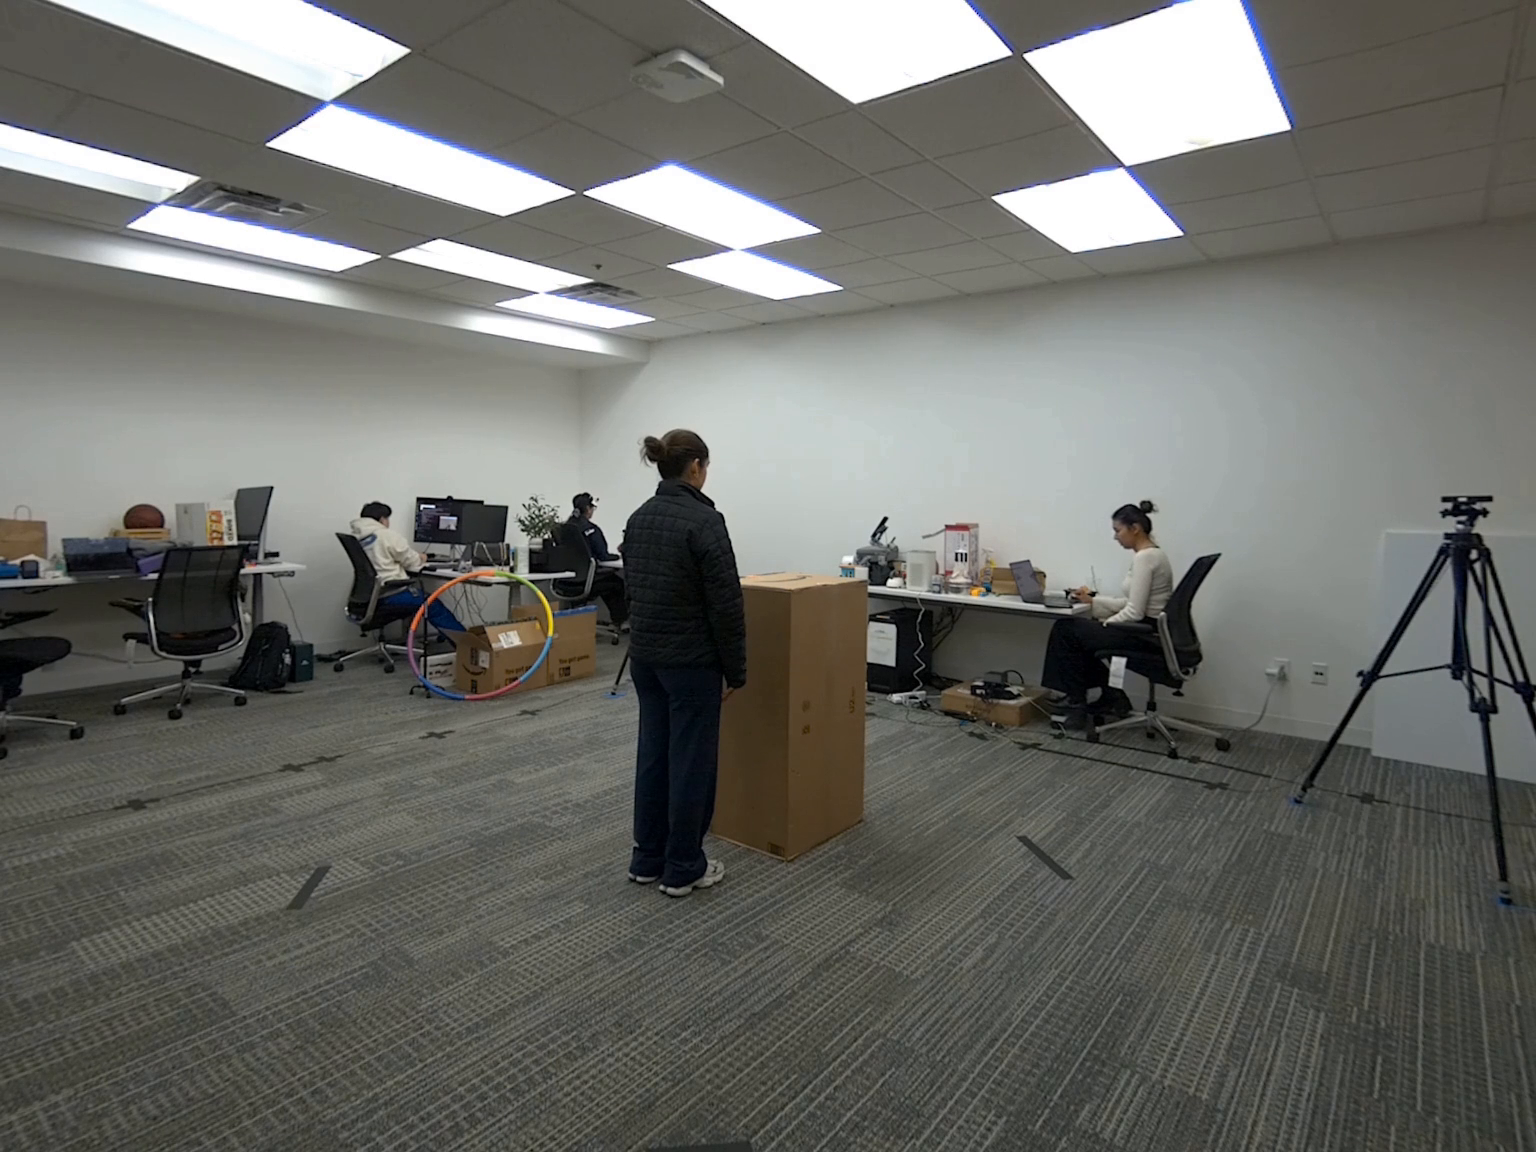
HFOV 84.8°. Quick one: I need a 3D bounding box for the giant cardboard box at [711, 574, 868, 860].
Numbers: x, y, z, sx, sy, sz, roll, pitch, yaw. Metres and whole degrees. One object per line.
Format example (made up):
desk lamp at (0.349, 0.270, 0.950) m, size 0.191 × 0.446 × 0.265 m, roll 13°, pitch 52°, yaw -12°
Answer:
giant cardboard box at (0.098, 0.524, 3.508) m, size 0.440 × 1.023 × 0.560 m, roll 3°, pitch 4°, yaw 39°
